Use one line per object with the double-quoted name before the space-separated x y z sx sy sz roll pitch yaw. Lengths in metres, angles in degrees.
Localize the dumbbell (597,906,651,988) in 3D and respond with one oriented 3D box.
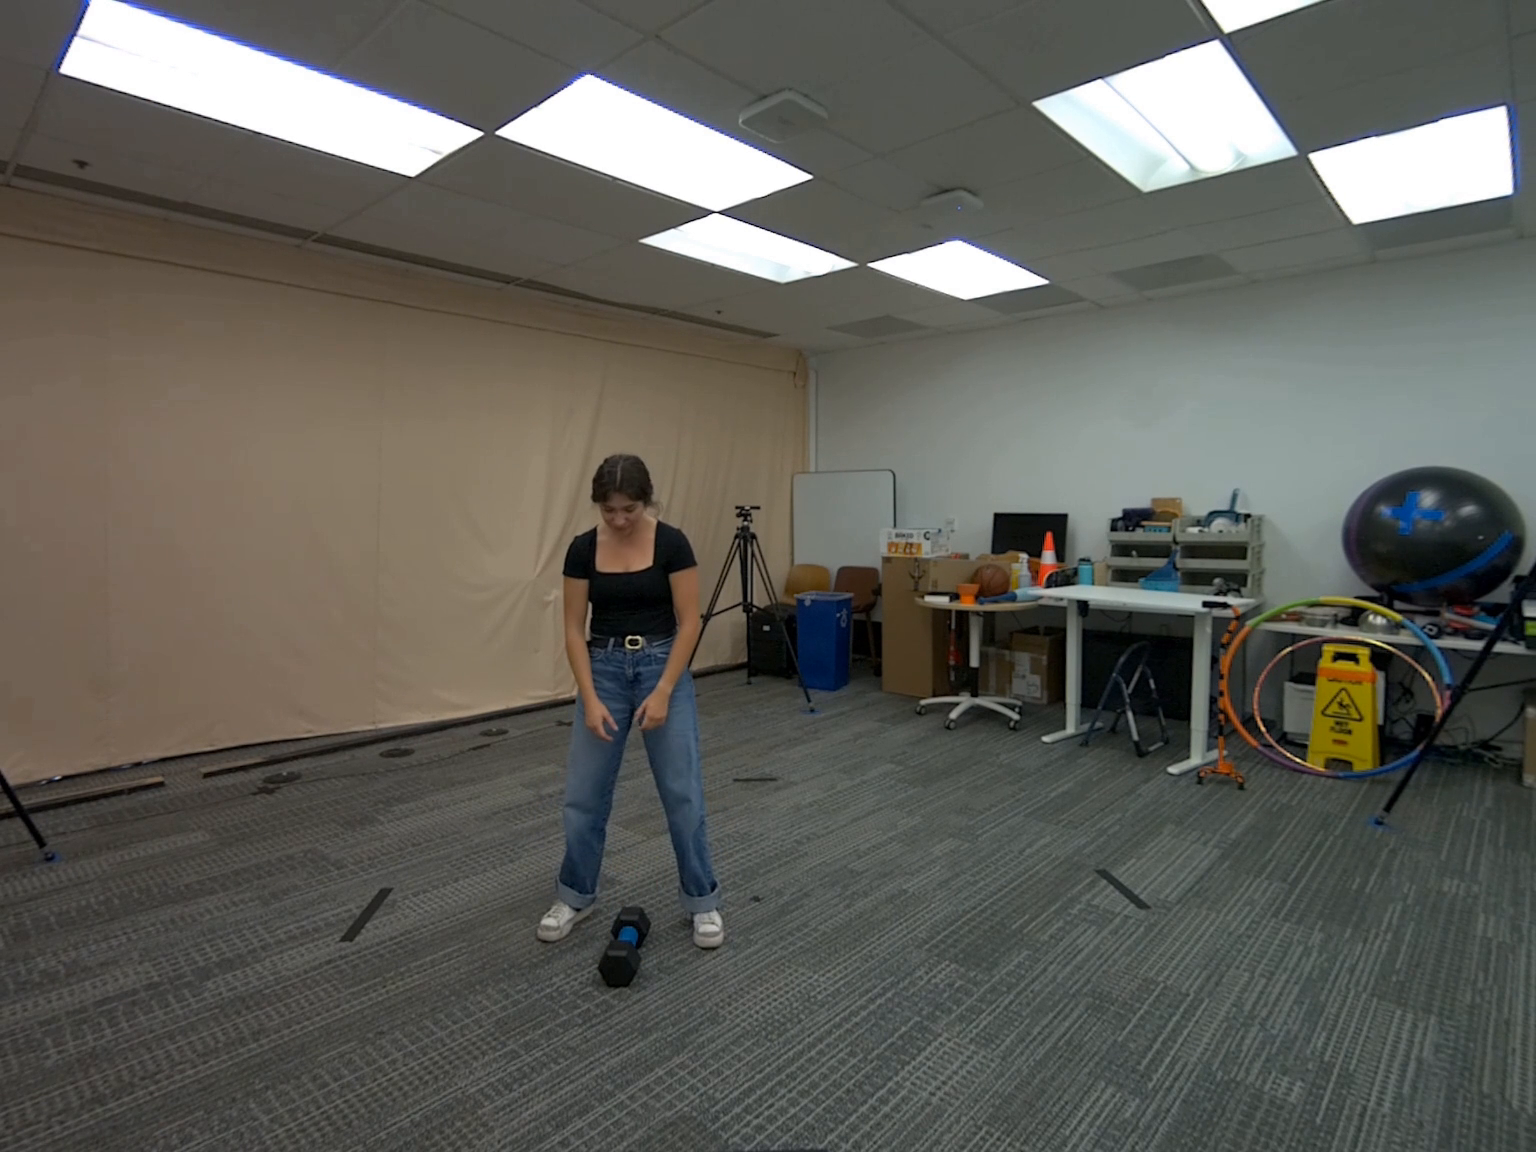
"dumbbell" -0.429 1.127 2.570 0.109 0.123 0.293 31 5 -1
